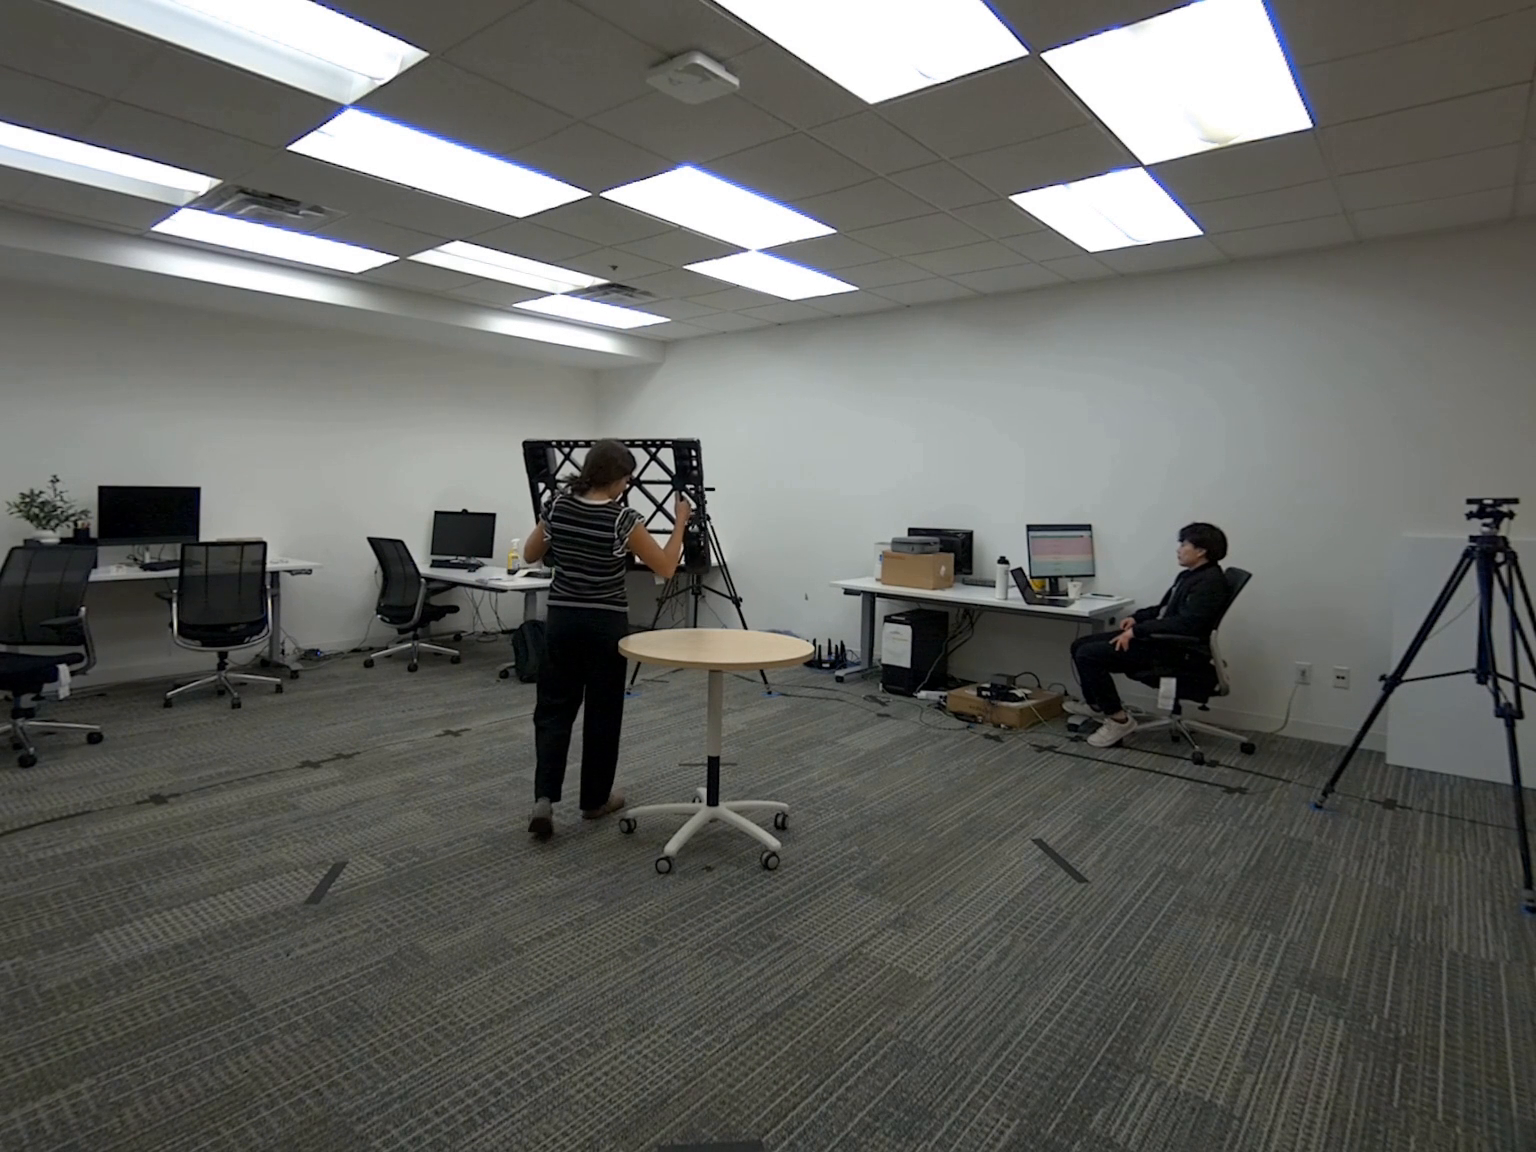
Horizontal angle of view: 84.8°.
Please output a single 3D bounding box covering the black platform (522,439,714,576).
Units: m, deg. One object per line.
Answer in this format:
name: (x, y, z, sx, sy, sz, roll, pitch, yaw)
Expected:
black platform: (-0.666, -0.327, 3.704, 0.818, 0.593, 0.144, 2, 20, 15)
